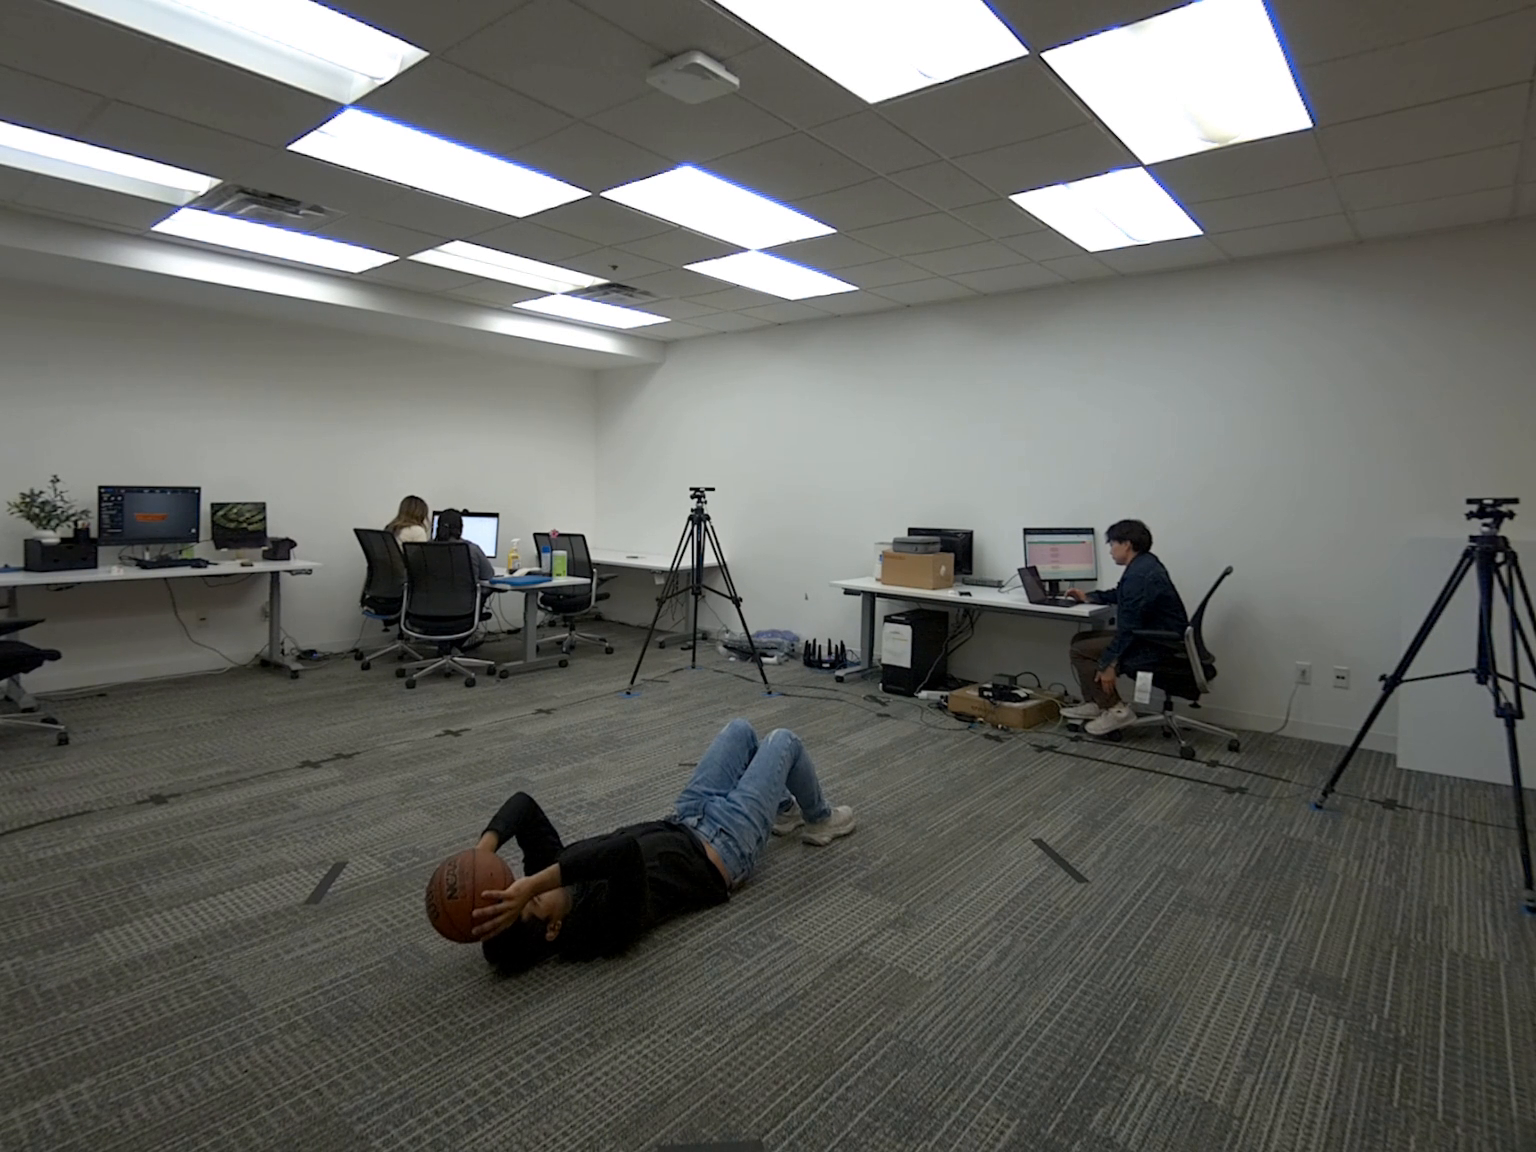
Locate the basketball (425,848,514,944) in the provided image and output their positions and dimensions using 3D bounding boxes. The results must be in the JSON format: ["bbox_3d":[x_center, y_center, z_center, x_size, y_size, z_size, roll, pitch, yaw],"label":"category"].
[{"bbox_3d":[-0.820,0.867,2.325,0.235,0.235,0.237,1,4,-2],"label":"basketball"}]
